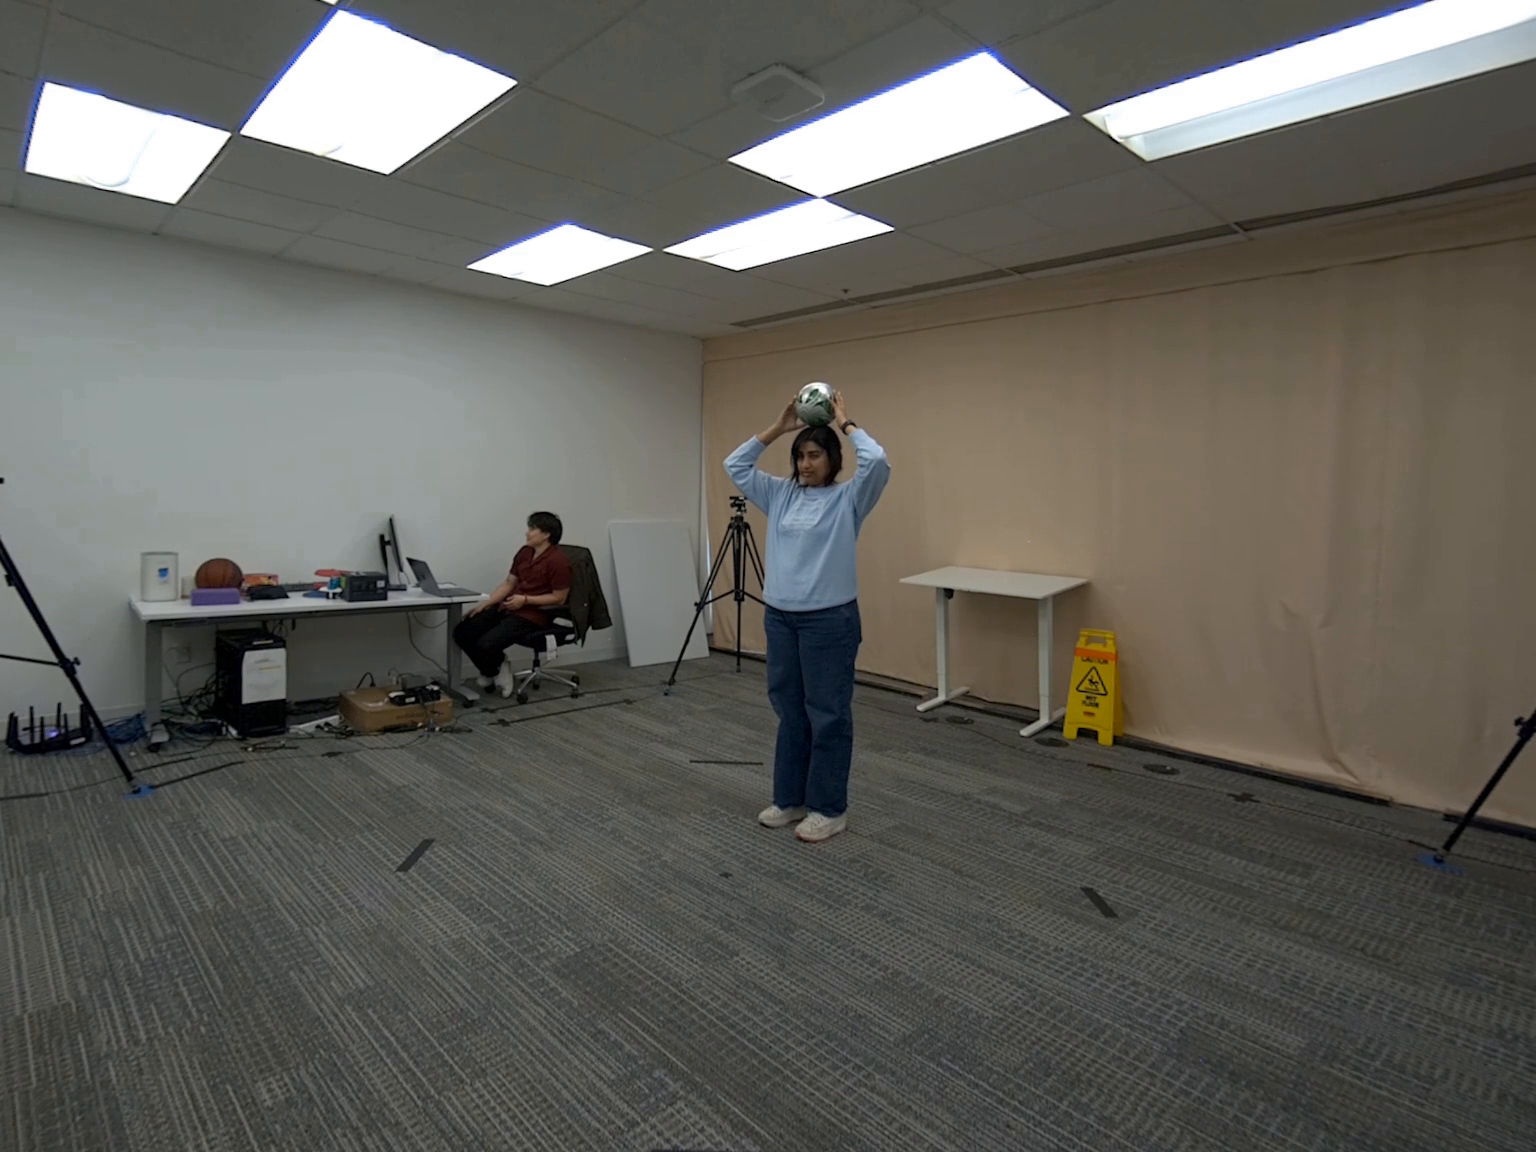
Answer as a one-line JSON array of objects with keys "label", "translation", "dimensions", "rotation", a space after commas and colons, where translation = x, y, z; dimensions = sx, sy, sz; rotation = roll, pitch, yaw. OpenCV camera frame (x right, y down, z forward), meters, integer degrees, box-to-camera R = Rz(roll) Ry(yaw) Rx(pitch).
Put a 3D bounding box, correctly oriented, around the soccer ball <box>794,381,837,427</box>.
[{"label": "soccer ball", "translation": [0.197, -0.712, 3.512], "dimensions": [0.187, 0.187, 0.188], "rotation": [1, 4, -1]}]
